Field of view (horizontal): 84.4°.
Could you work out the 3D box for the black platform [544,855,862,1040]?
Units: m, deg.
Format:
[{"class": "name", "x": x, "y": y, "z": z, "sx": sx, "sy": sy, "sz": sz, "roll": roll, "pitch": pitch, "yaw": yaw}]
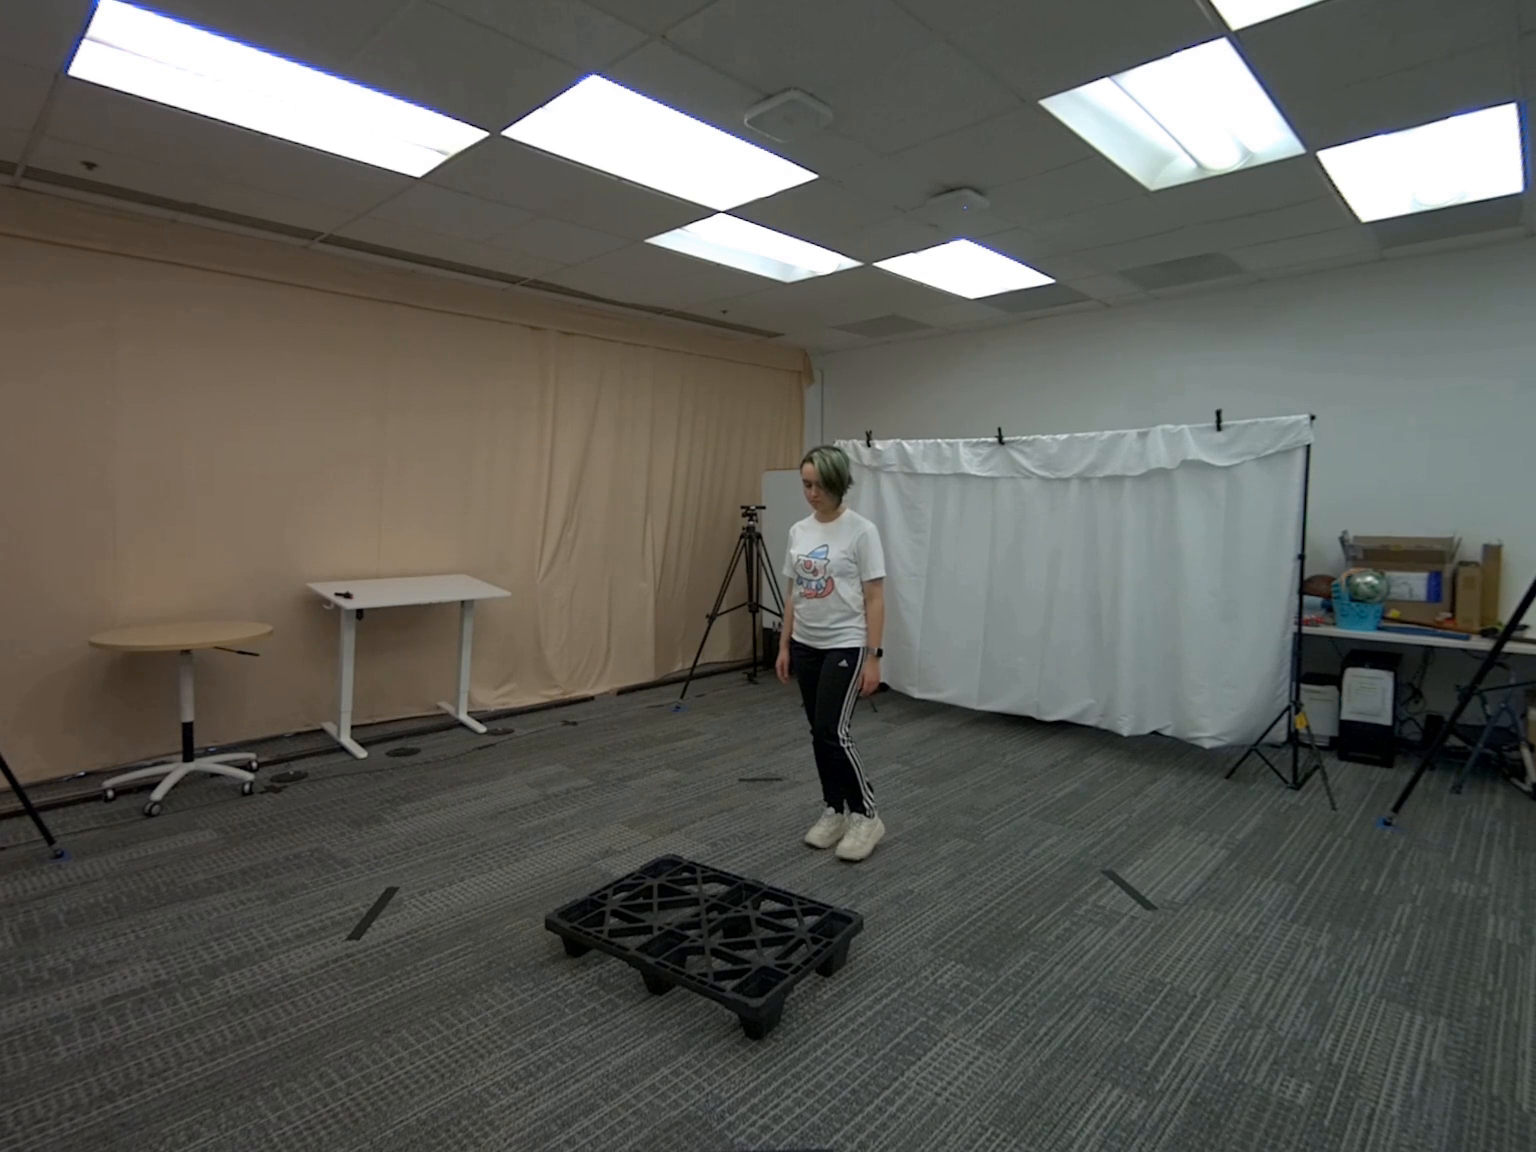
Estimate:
[{"class": "black platform", "x": -0.193, "y": 1.112, "z": 2.580, "sx": 0.831, "sy": 0.143, "sz": 0.588, "roll": 3, "pitch": 6, "yaw": 35}]
